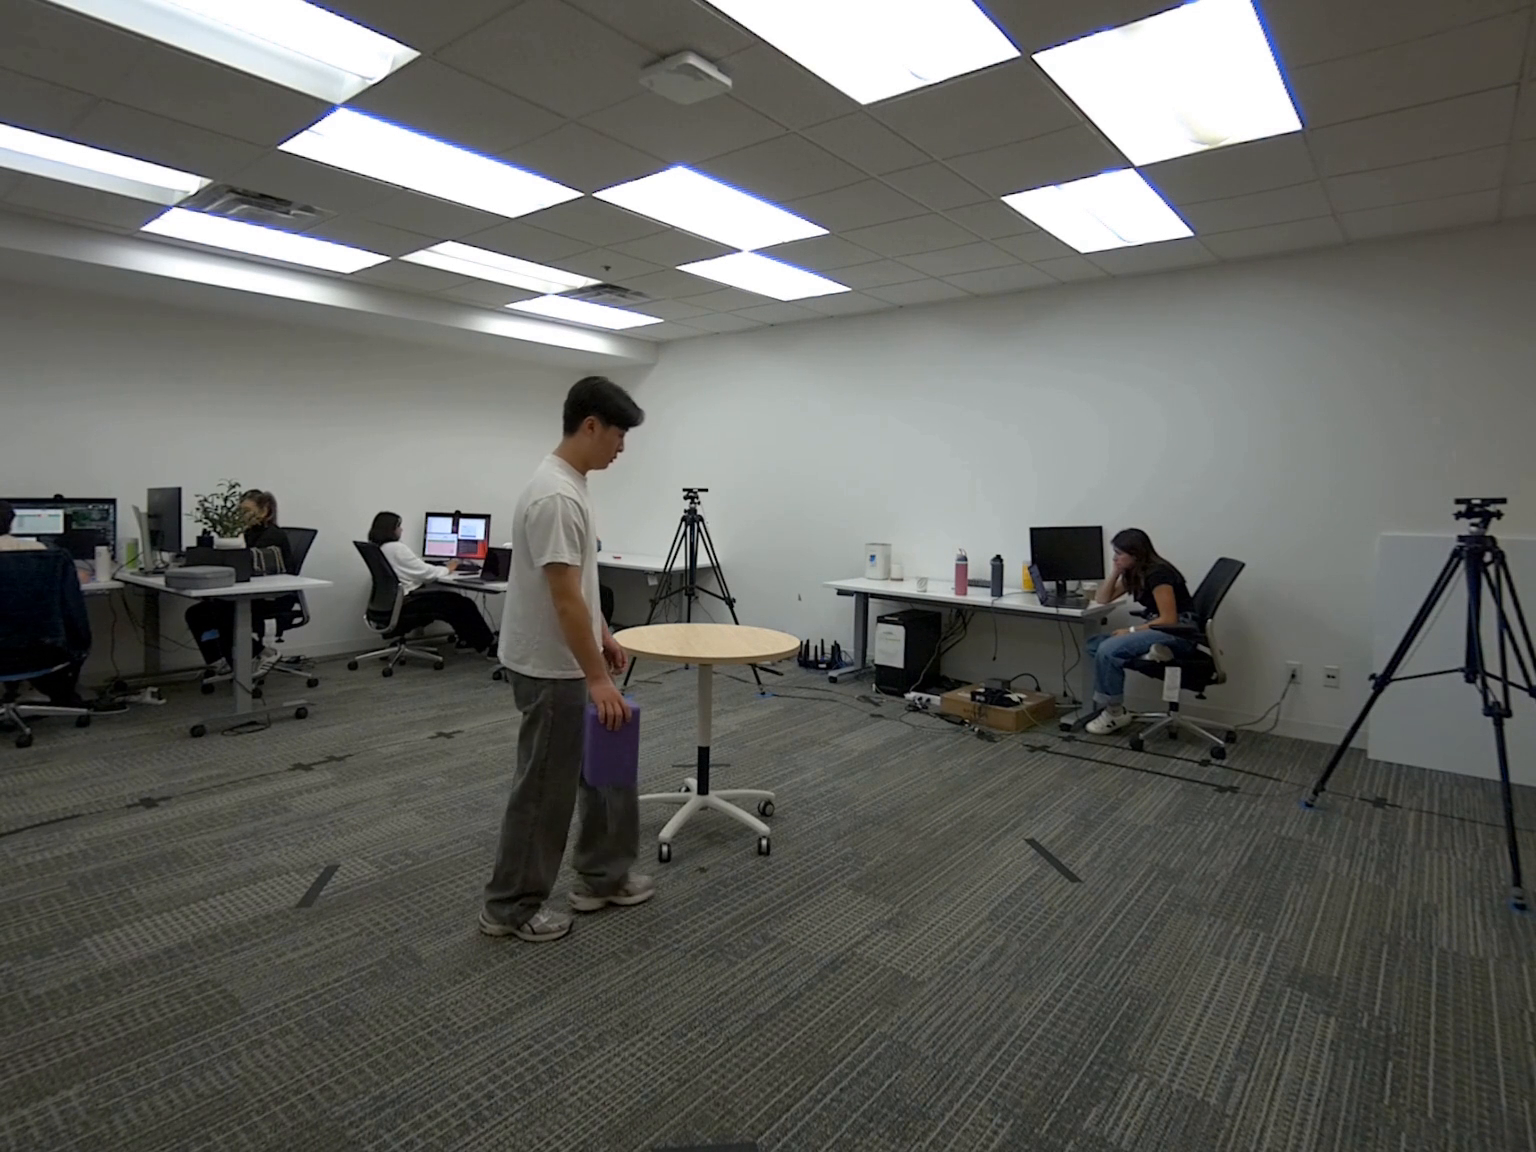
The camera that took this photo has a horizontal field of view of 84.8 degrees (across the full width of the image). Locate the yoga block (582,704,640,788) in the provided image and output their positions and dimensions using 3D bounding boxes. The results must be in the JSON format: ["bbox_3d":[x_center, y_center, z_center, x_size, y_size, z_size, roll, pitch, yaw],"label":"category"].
[{"bbox_3d":[-0.476,0.485,2.484,0.146,0.227,0.078,-1,10,-16],"label":"yoga block"}]
